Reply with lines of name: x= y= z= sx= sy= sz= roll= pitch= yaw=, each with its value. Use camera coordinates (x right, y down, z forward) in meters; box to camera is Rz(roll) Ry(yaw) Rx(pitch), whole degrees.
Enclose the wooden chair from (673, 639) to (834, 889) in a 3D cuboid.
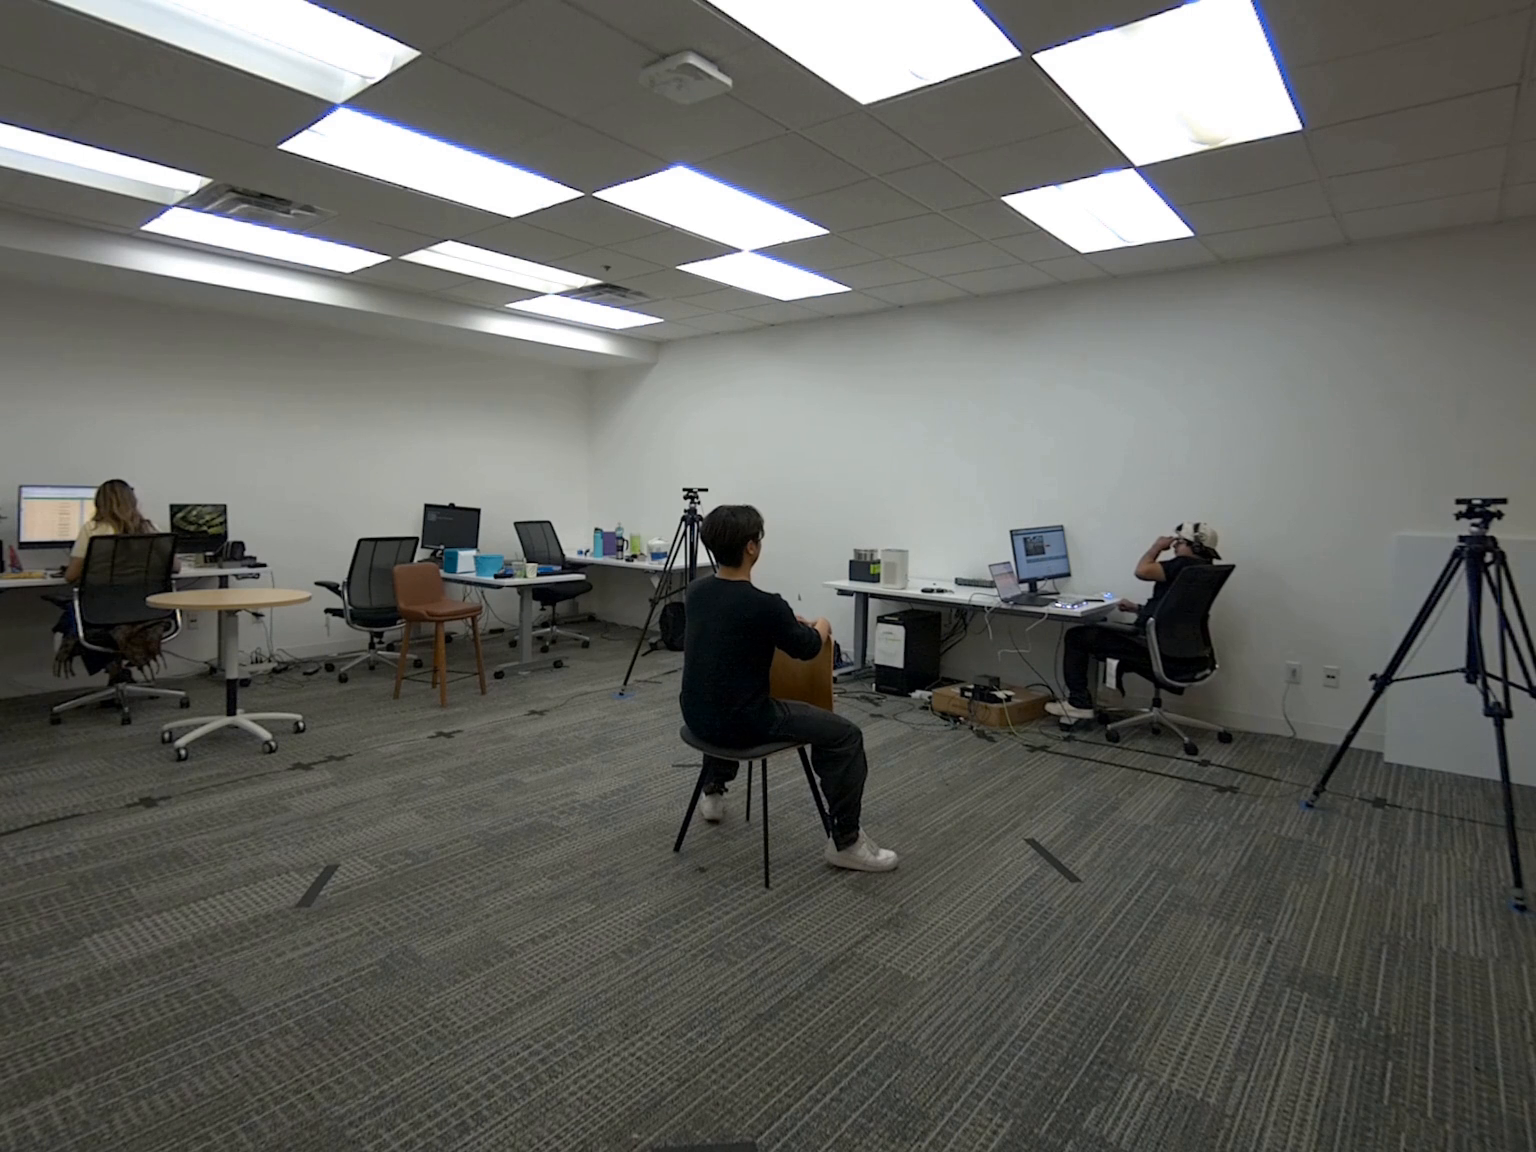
wooden chair: x=-0.053 y=0.630 z=3.240 sx=0.494 sy=0.877 sz=0.506 roll=4 pitch=1 yaw=40
